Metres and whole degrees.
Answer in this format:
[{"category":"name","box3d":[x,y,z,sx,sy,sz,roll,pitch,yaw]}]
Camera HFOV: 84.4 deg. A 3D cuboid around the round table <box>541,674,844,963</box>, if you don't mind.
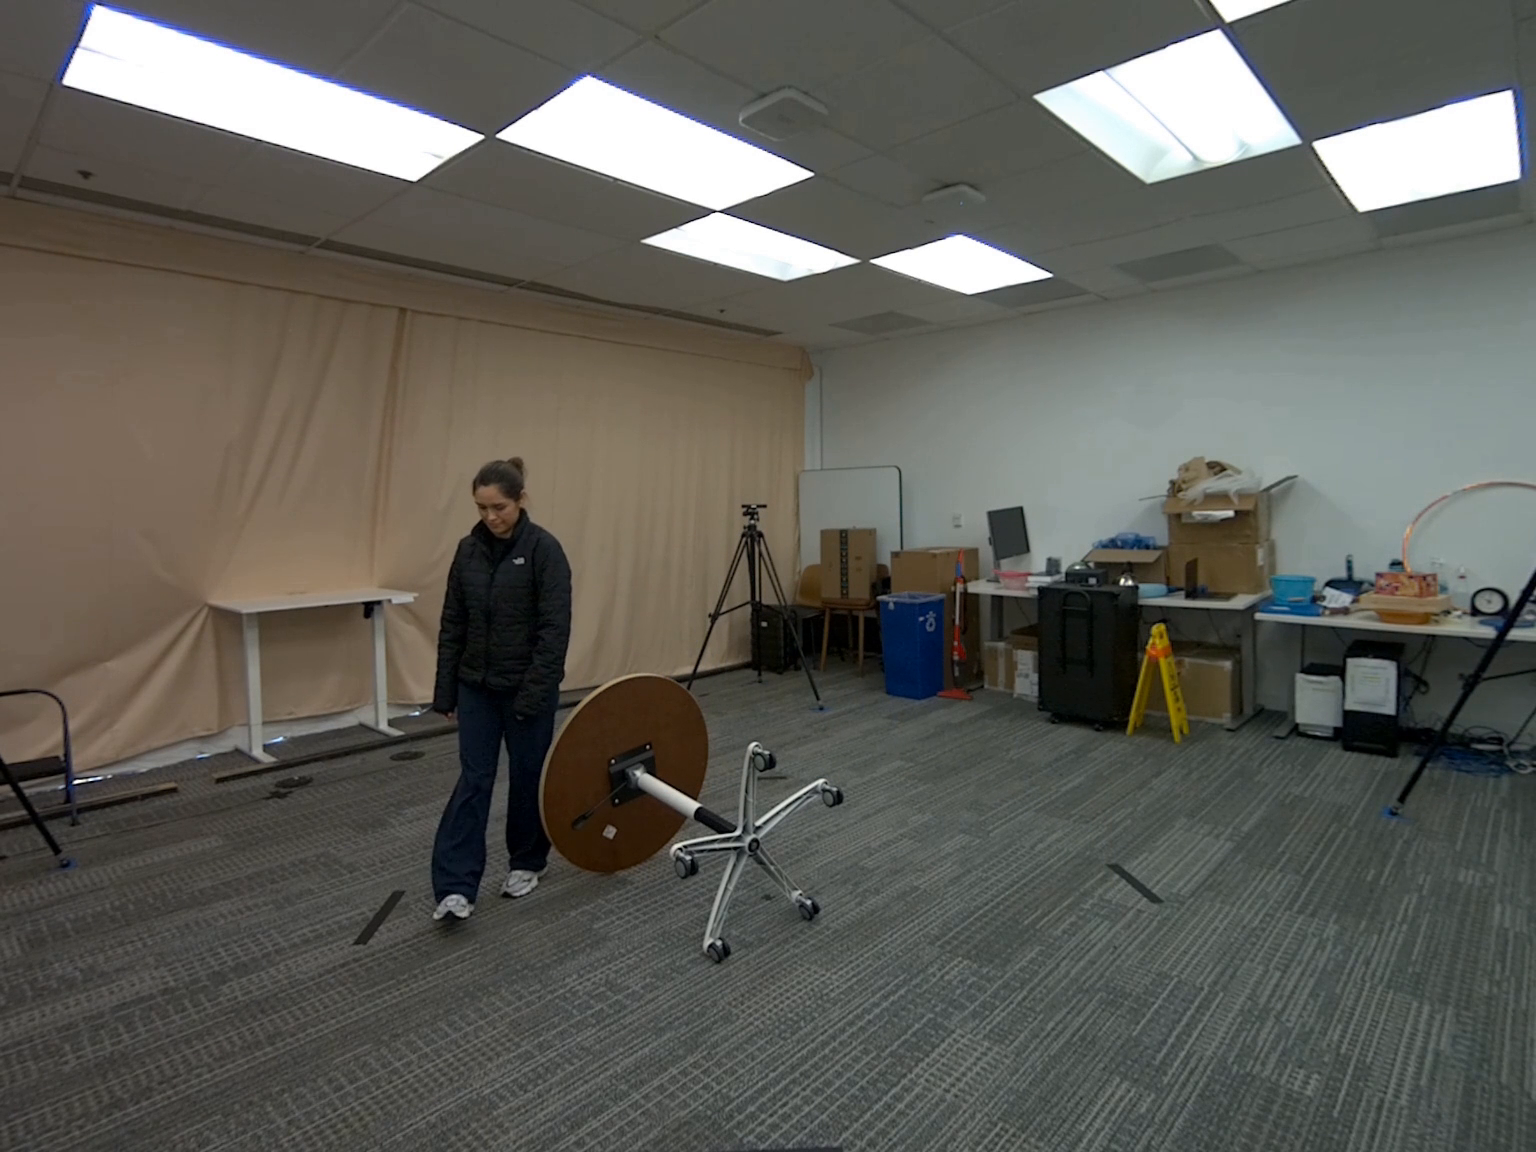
[{"category":"round table","box3d":[-0.249,0.812,2.922,0.761,0.782,0.814,-4,10,-42]}]
